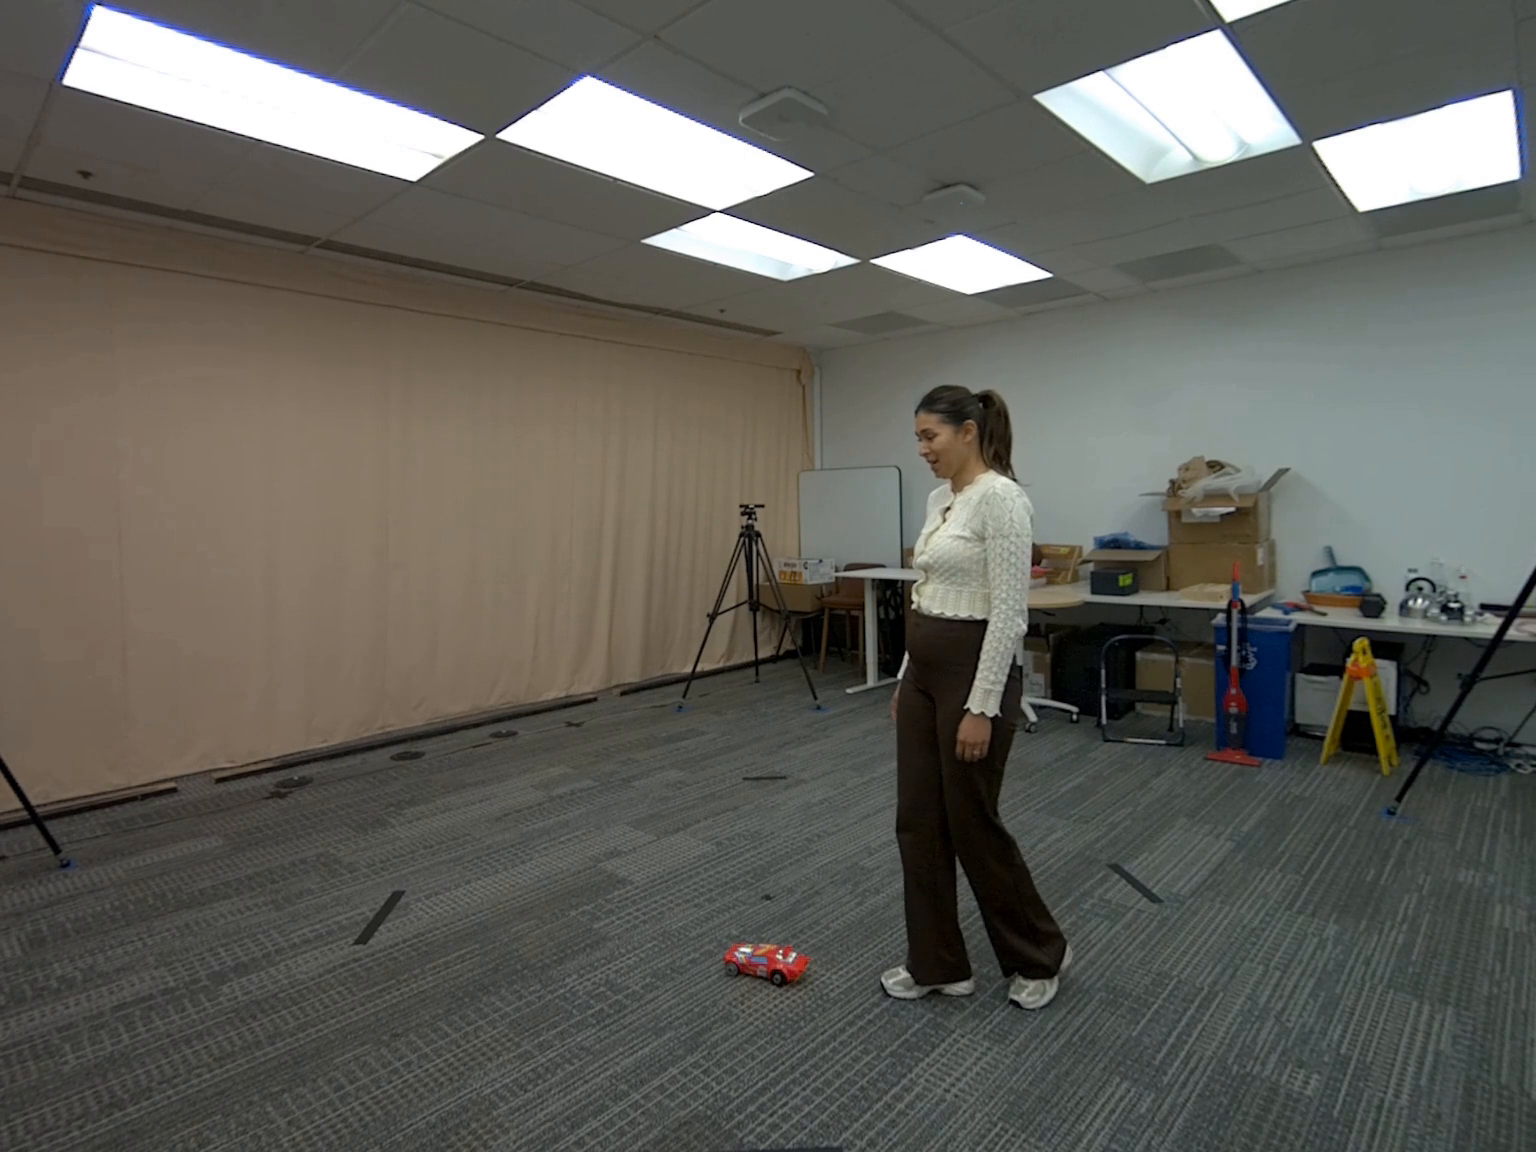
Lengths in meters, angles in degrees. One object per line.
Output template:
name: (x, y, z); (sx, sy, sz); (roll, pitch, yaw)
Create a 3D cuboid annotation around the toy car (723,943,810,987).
toy car: (0.003, 1.149, 2.497); (0.260, 0.083, 0.127); (-11, 0, 23)
